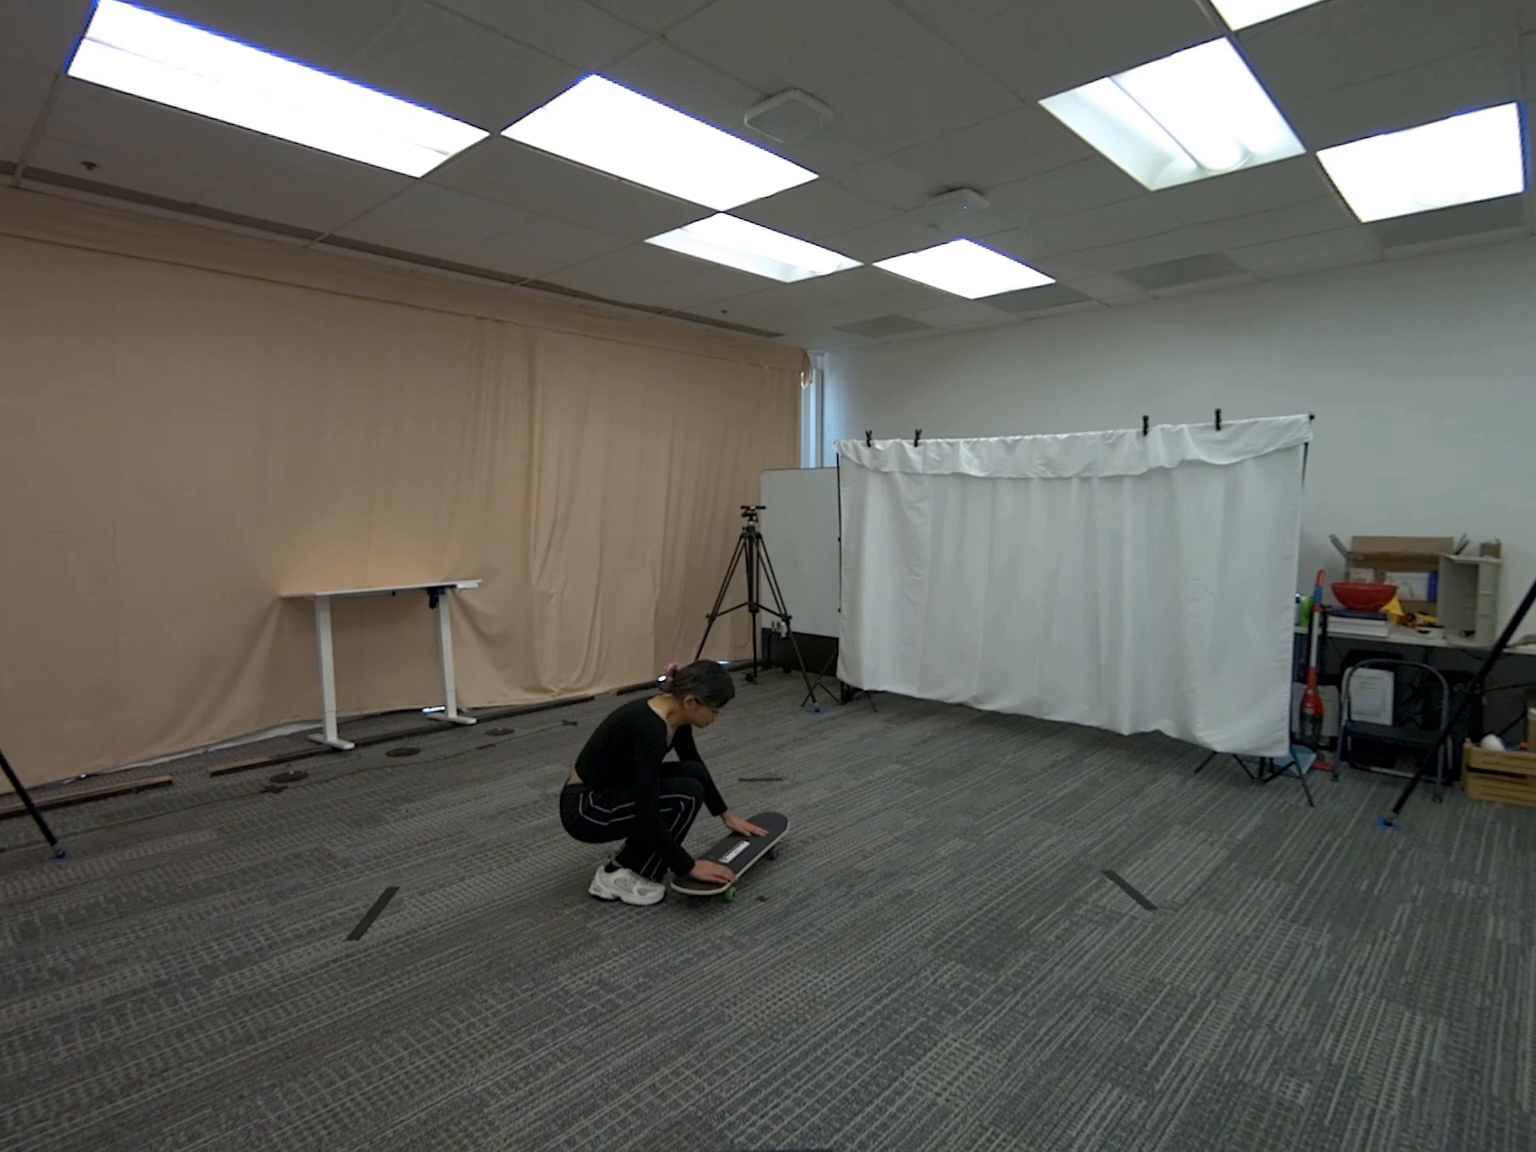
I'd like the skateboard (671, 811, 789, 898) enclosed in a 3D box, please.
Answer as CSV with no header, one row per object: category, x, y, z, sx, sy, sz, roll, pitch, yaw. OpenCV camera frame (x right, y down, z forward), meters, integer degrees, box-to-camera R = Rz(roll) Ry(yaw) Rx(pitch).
skateboard,-0.121,1.066,3.172,0.198,0.110,0.768,2,5,23
